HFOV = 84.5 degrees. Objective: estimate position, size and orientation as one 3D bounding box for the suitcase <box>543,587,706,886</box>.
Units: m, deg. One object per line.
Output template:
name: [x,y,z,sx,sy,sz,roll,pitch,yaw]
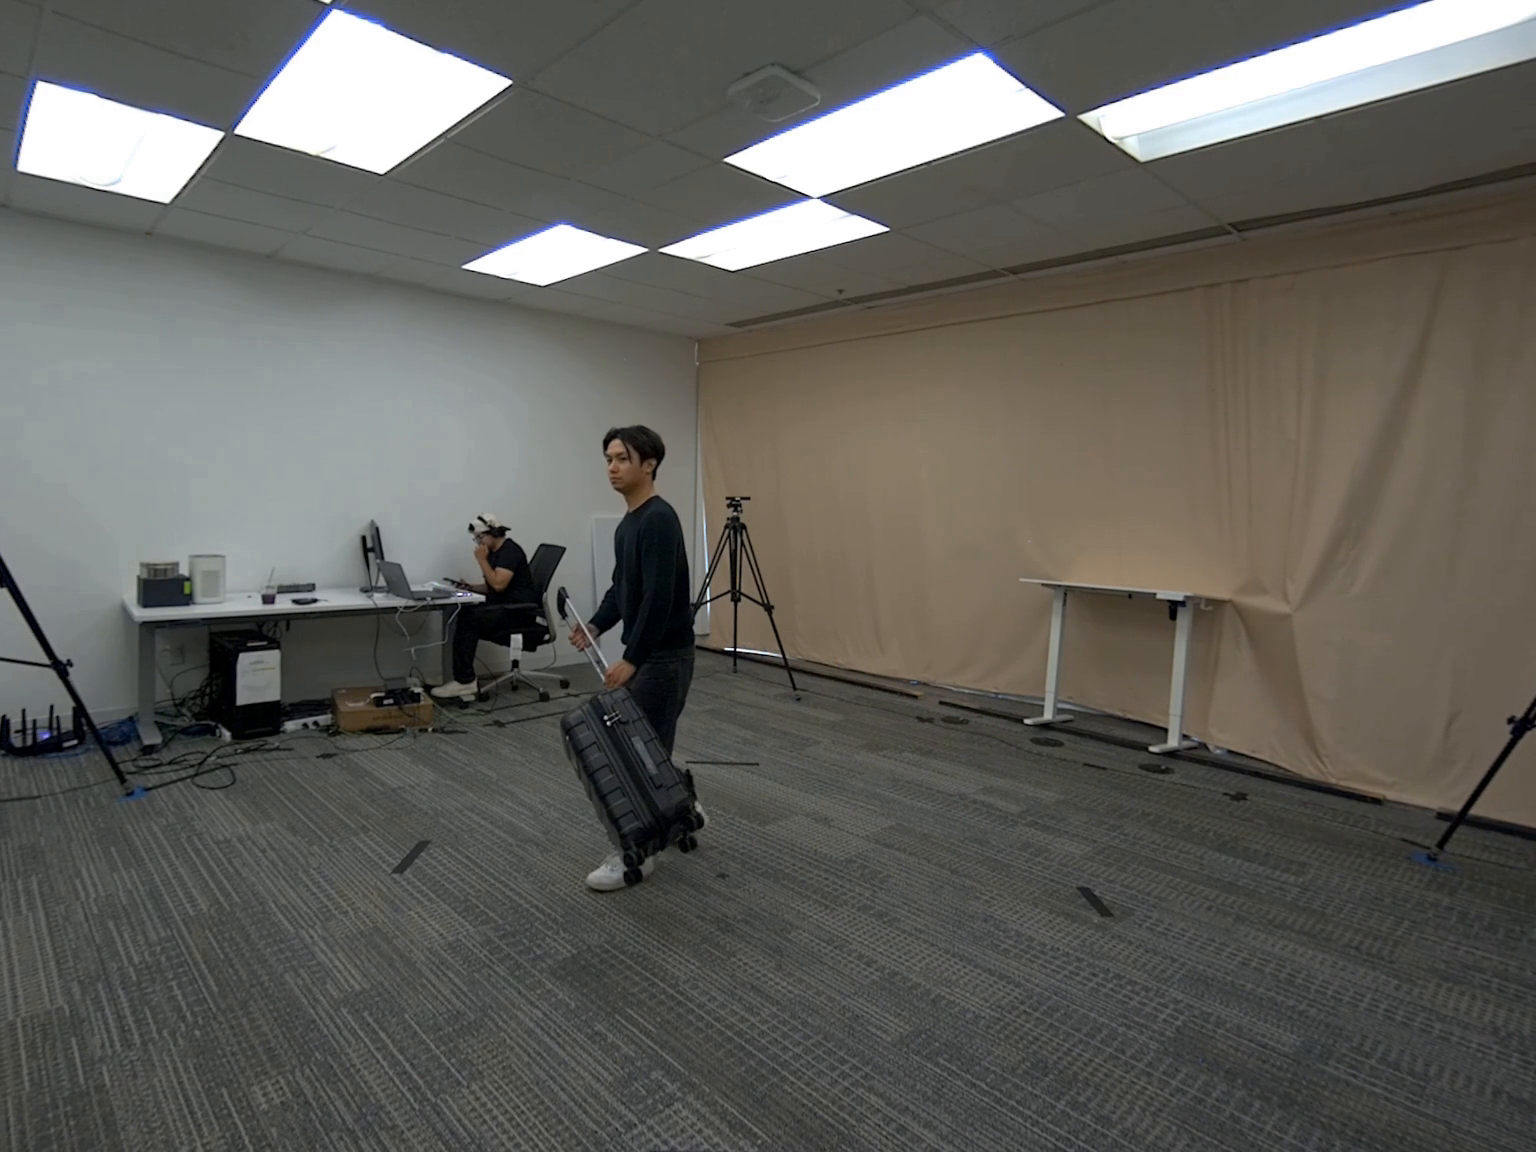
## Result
suitcase: [-0.591,0.513,2.826,0.255,1.001,0.378,-27,-25,-23]
